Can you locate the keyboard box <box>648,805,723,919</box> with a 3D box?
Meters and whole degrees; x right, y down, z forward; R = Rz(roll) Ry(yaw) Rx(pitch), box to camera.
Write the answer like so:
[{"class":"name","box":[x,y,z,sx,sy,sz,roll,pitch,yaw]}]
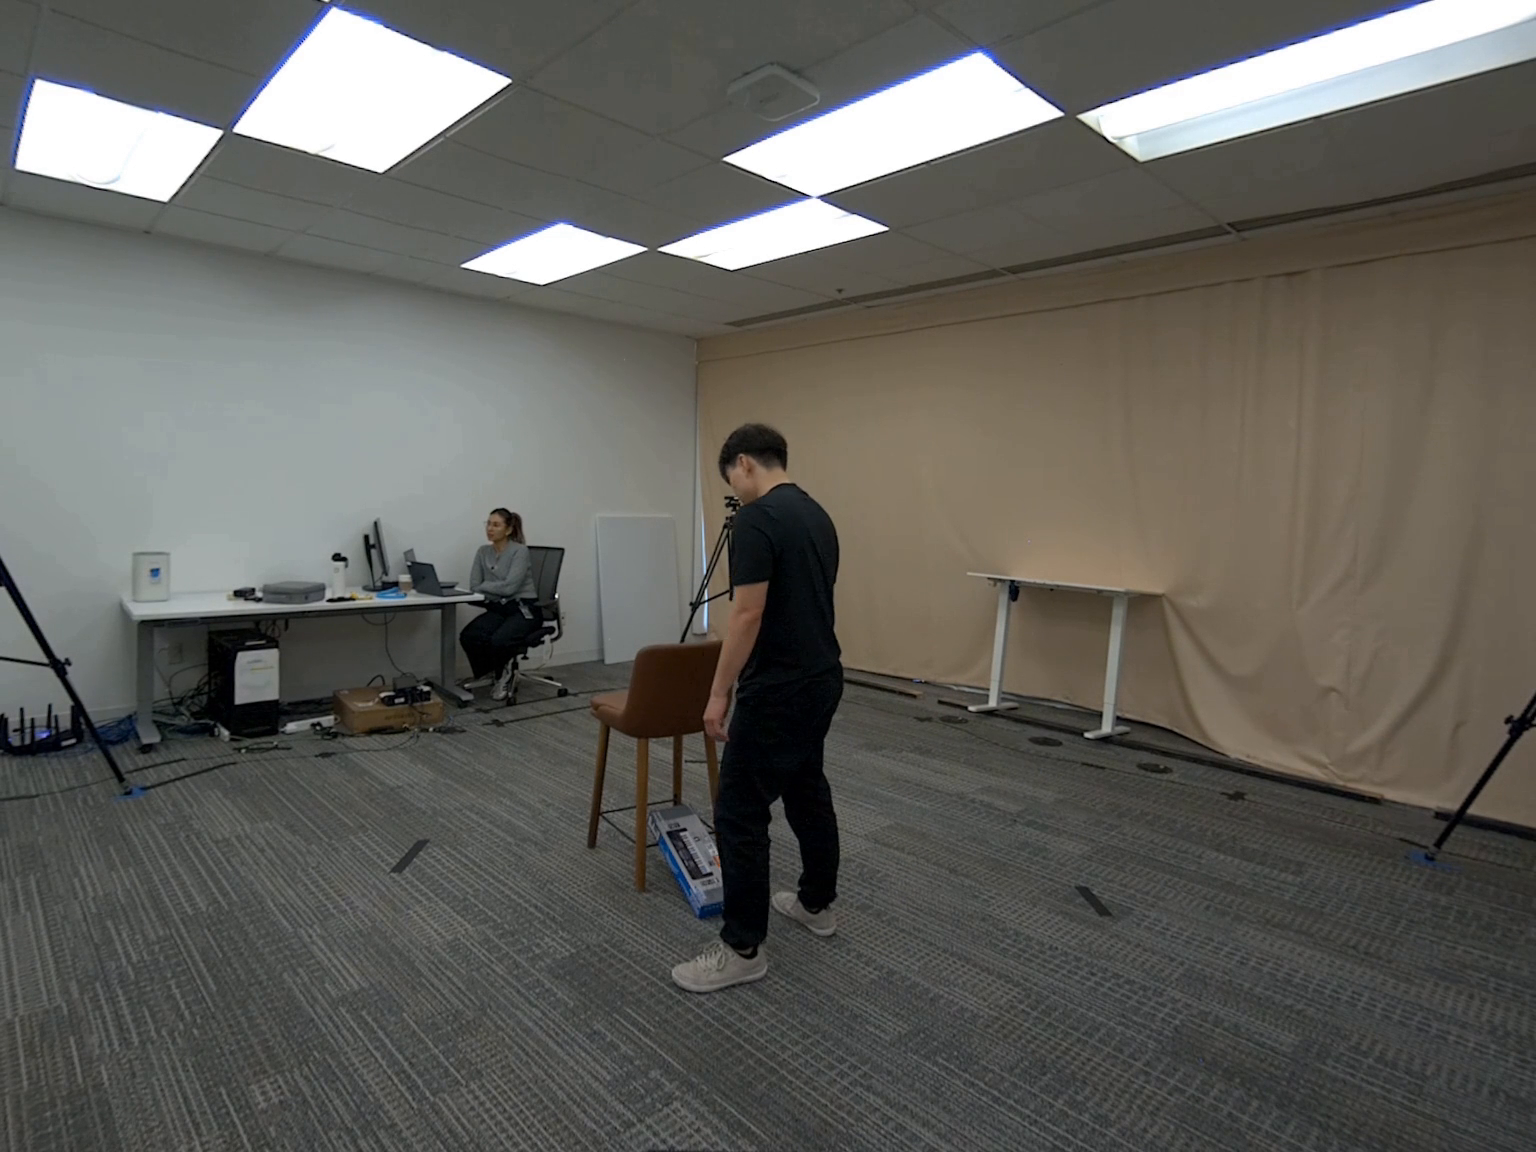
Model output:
[{"class":"keyboard box","box":[-0.263,0.998,2.971,0.172,0.058,0.451,-2,31,-32]}]
